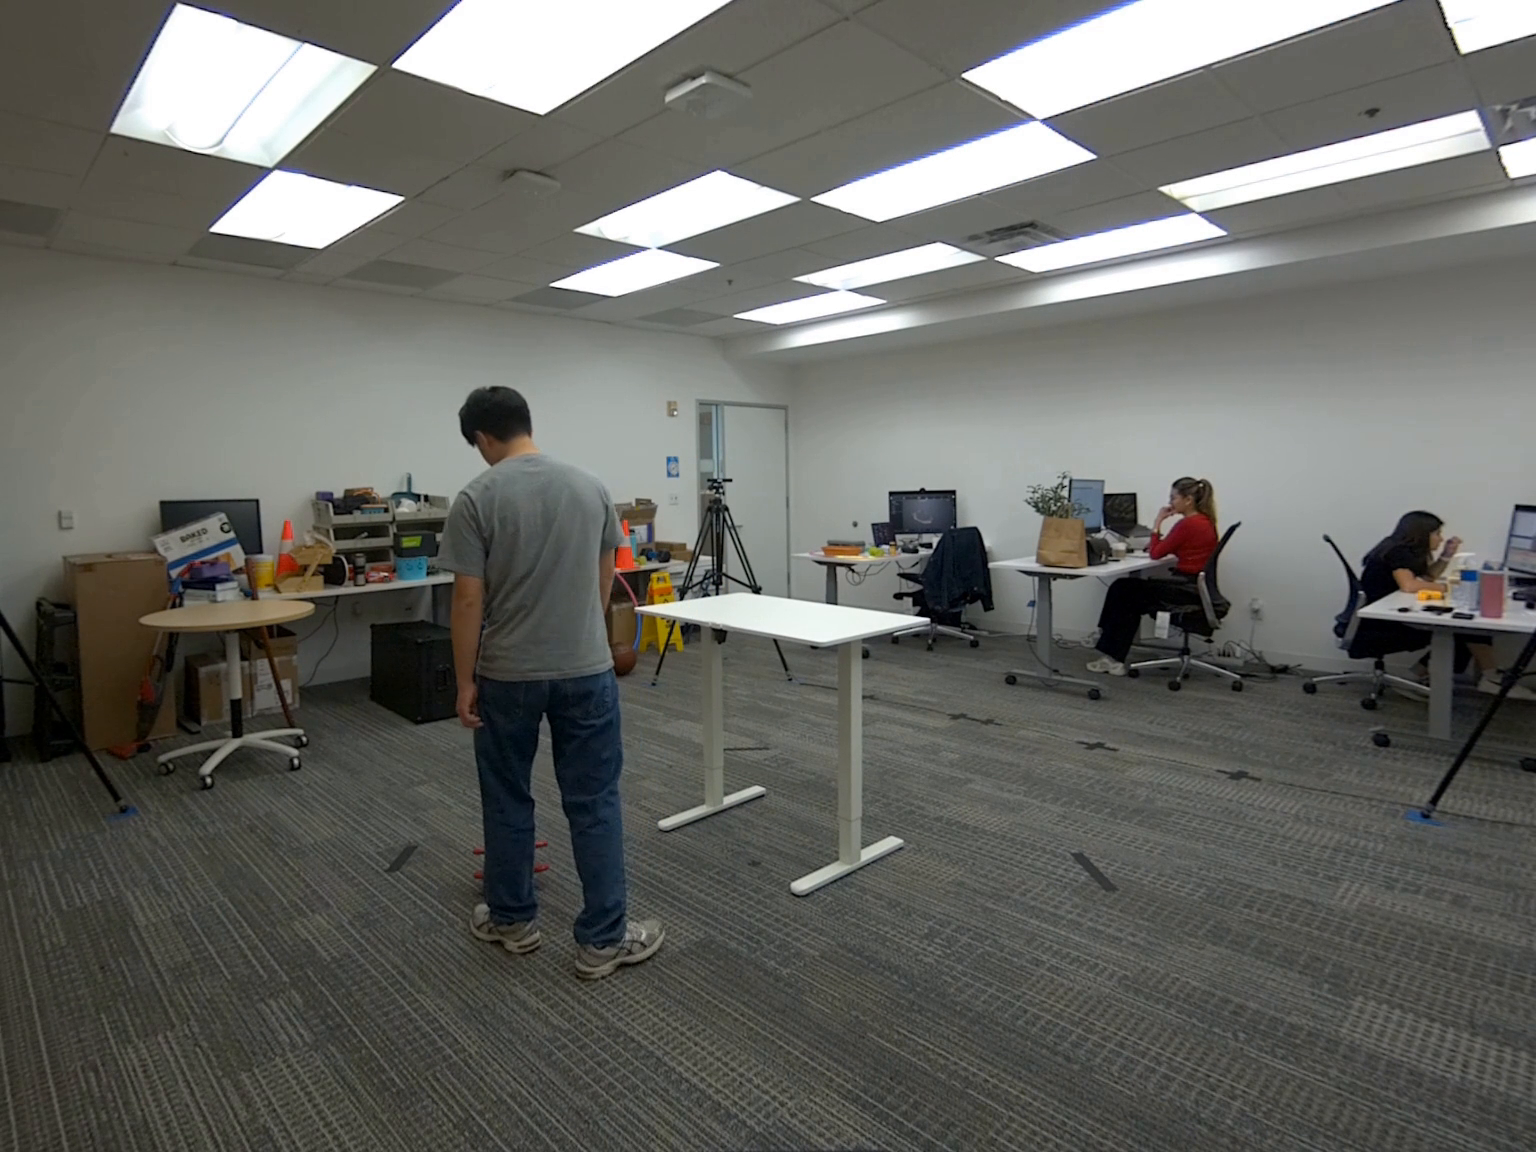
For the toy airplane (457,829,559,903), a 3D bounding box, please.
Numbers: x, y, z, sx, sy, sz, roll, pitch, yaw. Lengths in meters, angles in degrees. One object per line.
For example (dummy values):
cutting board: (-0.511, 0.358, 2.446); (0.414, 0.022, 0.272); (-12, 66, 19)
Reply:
toy airplane: (-0.913, 1.004, 2.995); (0.245, 0.155, 0.267); (-7, 9, -41)
